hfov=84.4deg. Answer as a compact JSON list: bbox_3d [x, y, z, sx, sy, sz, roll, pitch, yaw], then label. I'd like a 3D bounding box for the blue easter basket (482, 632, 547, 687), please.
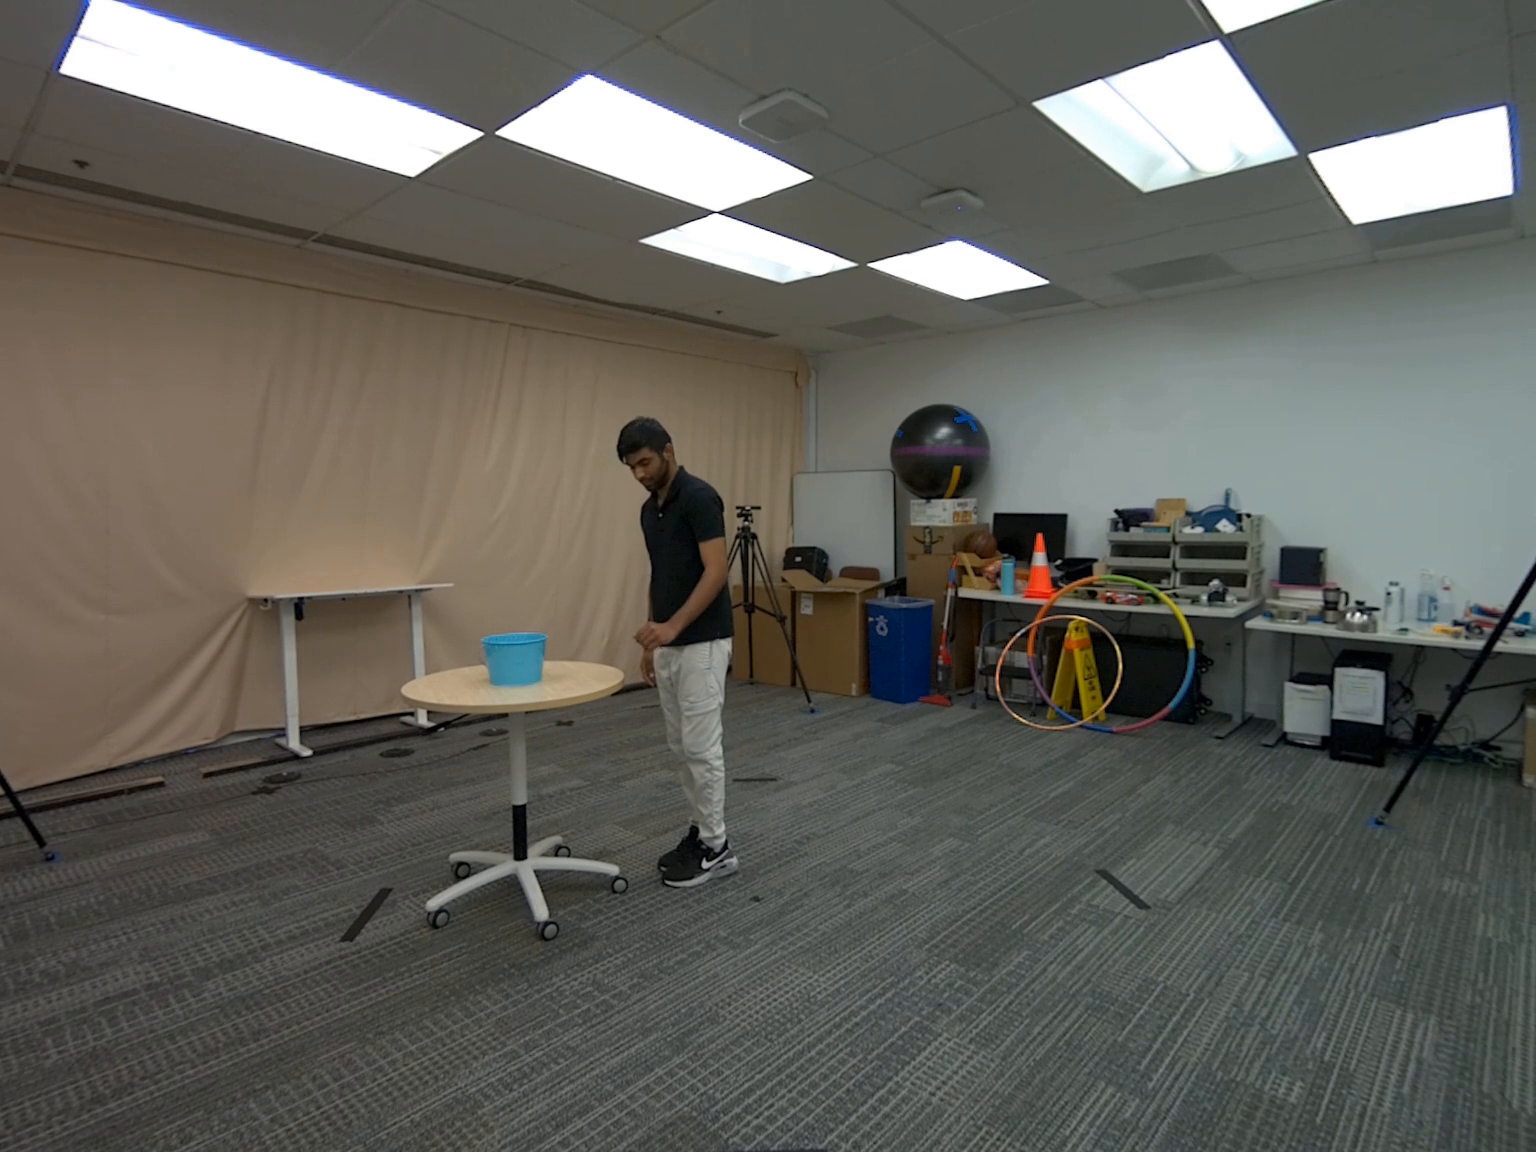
[{"bbox_3d":[-0.896,0.297,2.983,0.243,0.155,0.244,-1,4,-2],"label":"blue easter basket"}]
